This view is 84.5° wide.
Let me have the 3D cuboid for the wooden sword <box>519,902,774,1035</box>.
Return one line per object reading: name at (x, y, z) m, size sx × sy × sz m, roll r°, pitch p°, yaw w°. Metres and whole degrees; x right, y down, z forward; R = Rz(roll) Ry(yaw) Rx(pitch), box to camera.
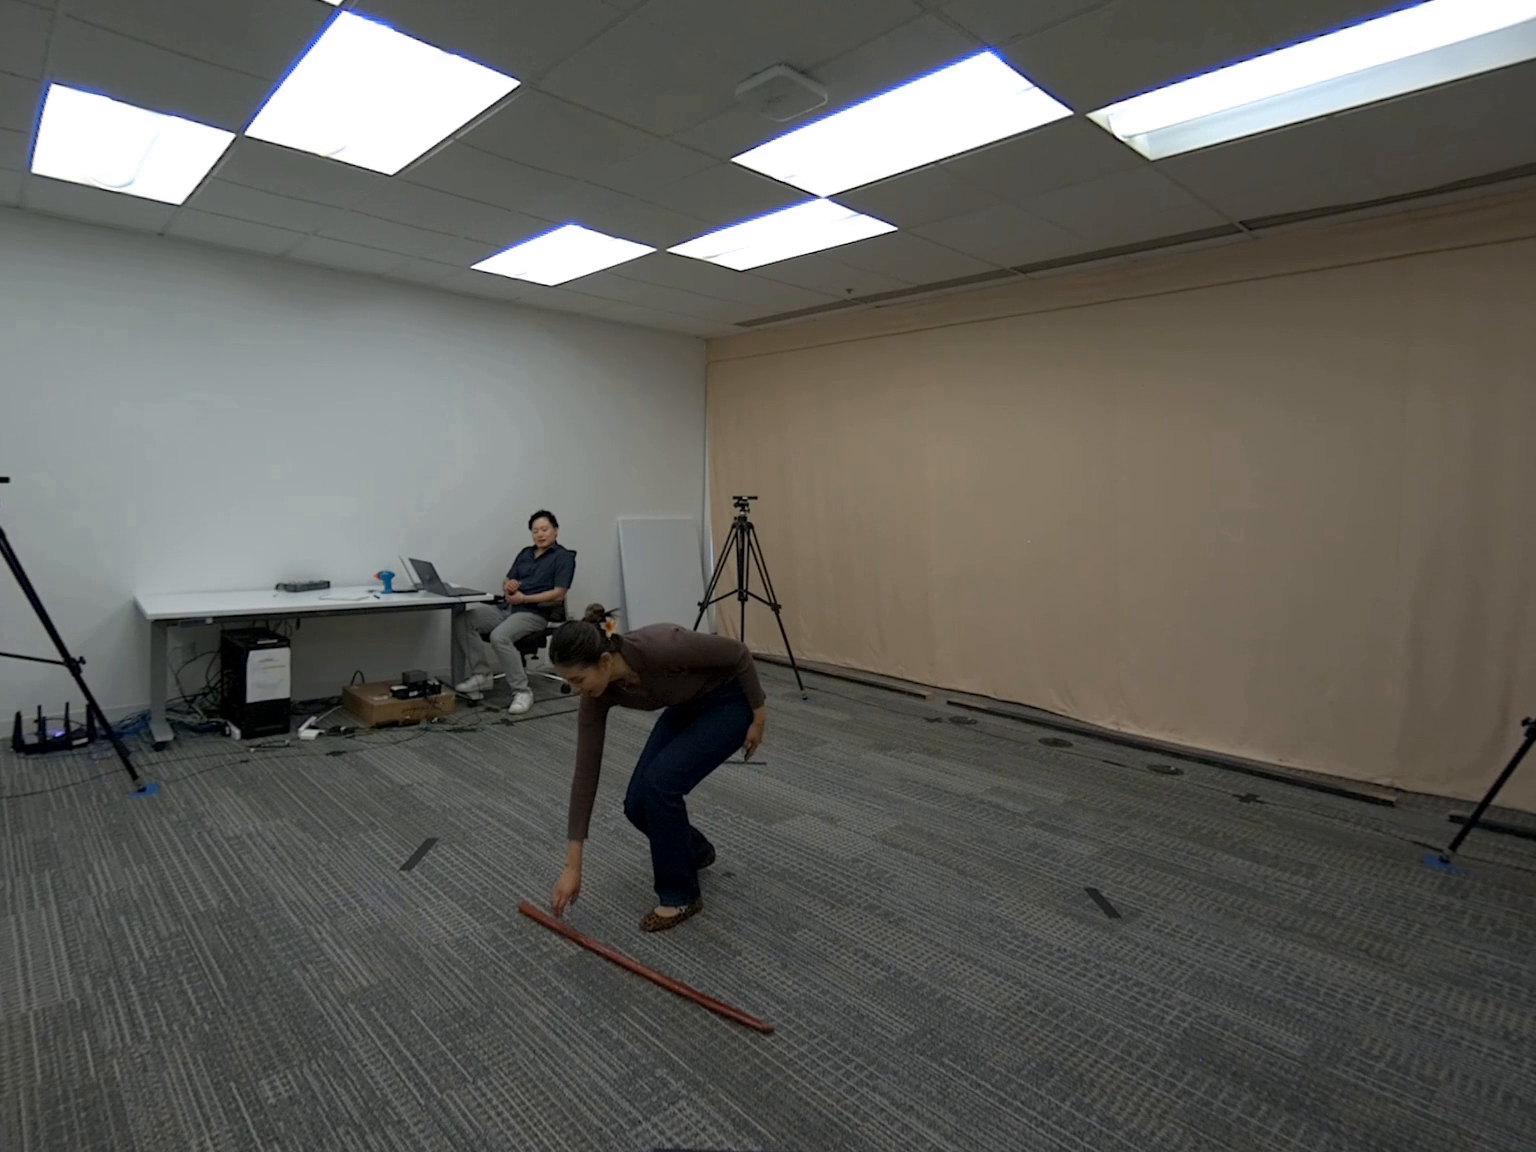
wooden sword at (-0.421, 1.128, 2.502) m, size 1.050 × 0.024 × 0.050 m, roll 6°, pitch 16°, yaw 37°
